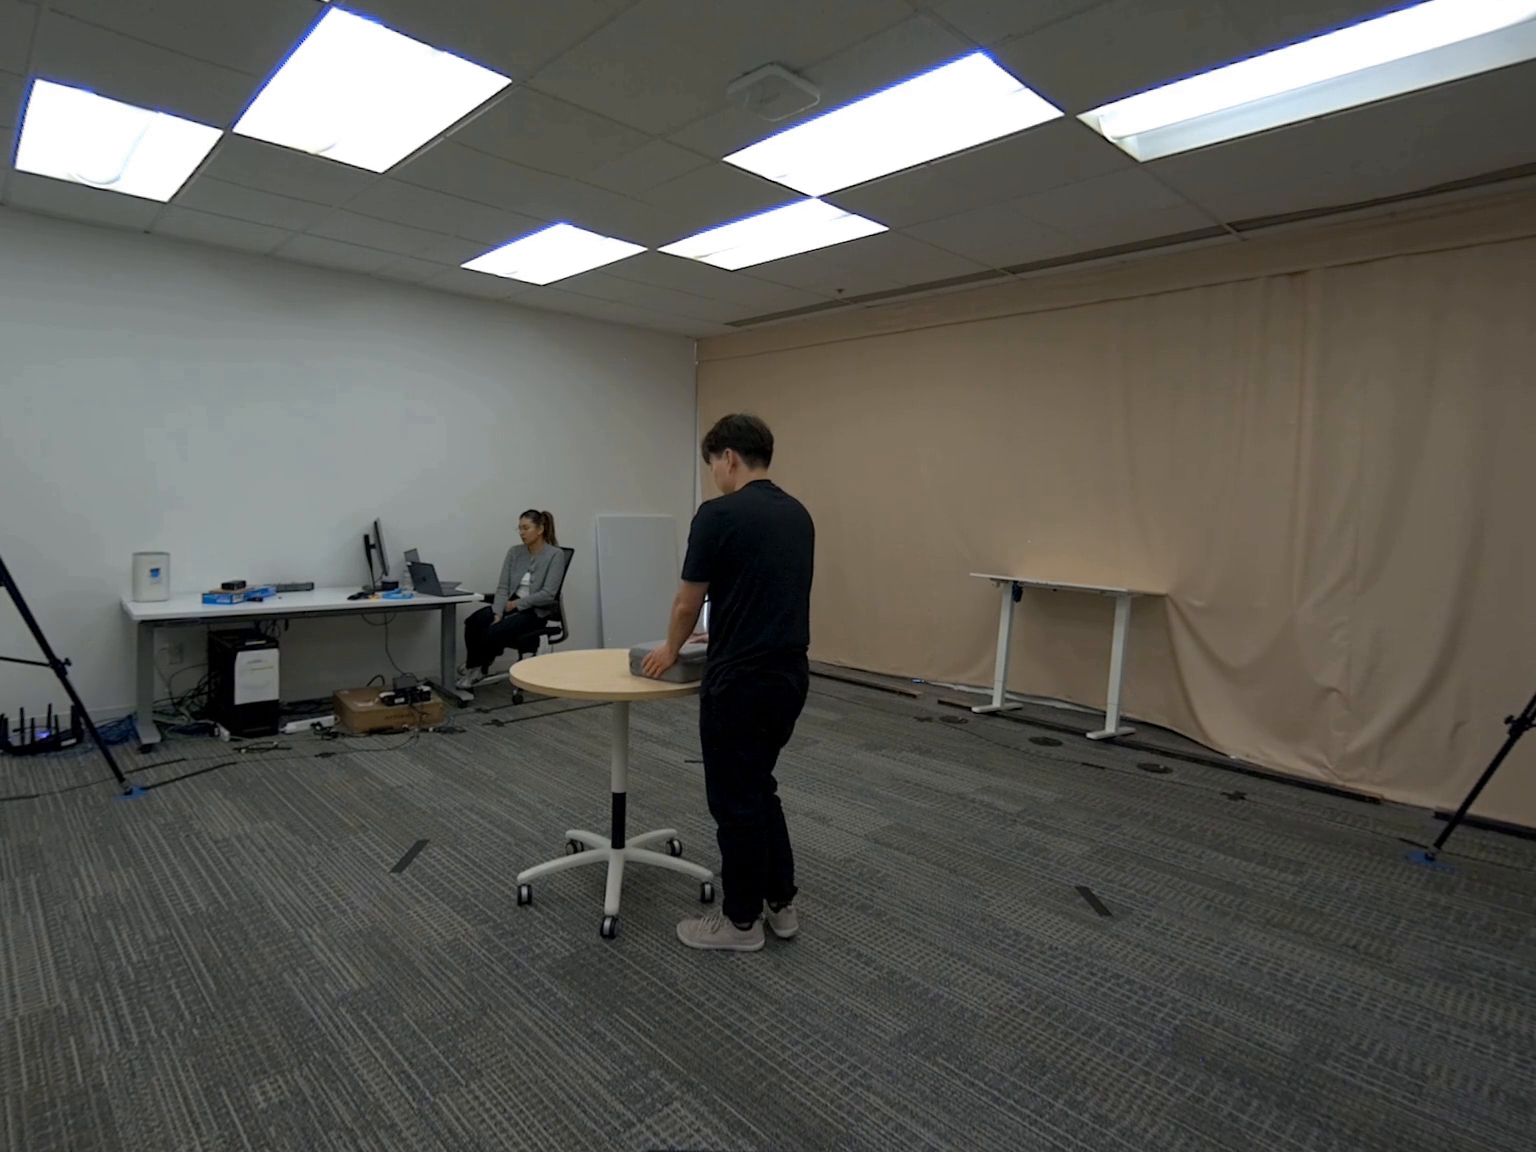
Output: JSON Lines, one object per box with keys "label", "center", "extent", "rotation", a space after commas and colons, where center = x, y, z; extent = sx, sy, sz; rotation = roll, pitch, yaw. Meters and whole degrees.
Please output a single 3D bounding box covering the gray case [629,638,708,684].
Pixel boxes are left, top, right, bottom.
{"label": "gray case", "center": [-0.318, 0.284, 2.888], "extent": [0.267, 0.104, 0.252], "rotation": [5, 7, 32]}
